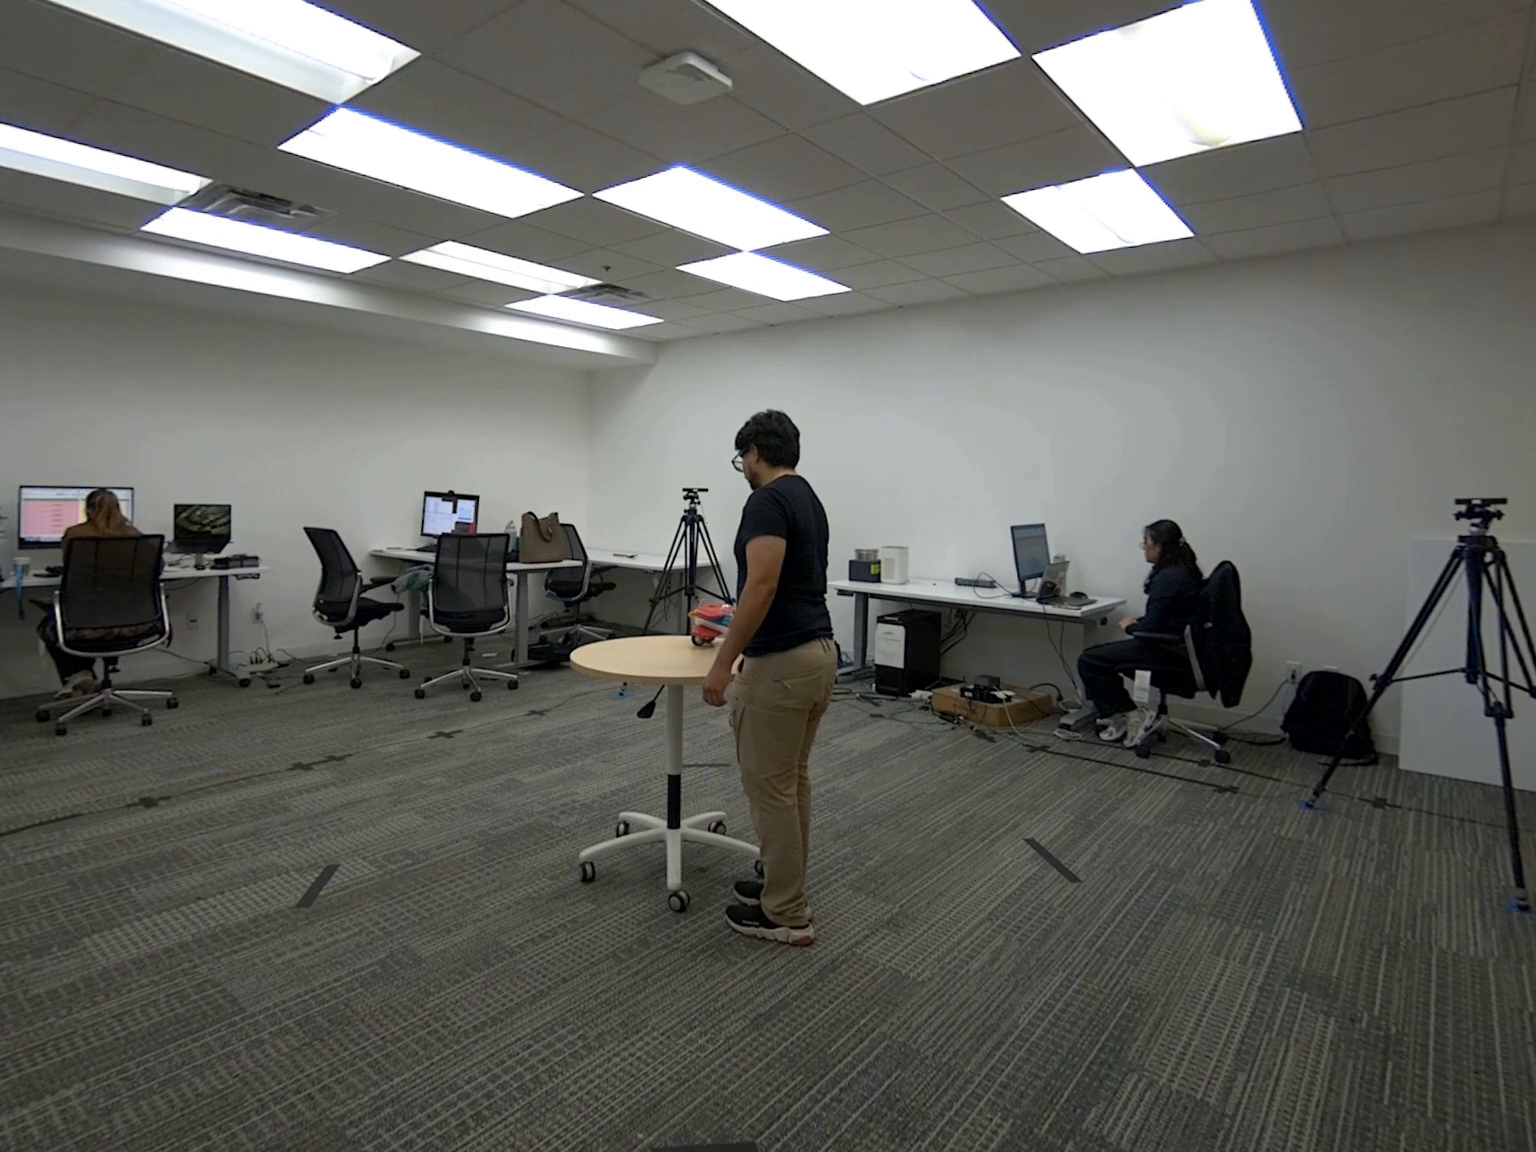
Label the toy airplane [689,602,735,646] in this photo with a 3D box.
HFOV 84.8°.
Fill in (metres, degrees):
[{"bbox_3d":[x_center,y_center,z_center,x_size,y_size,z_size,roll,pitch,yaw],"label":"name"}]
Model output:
[{"bbox_3d":[-0.183,0.188,3.304,0.258,0.156,0.254,-1,6,-6],"label":"toy airplane"}]
